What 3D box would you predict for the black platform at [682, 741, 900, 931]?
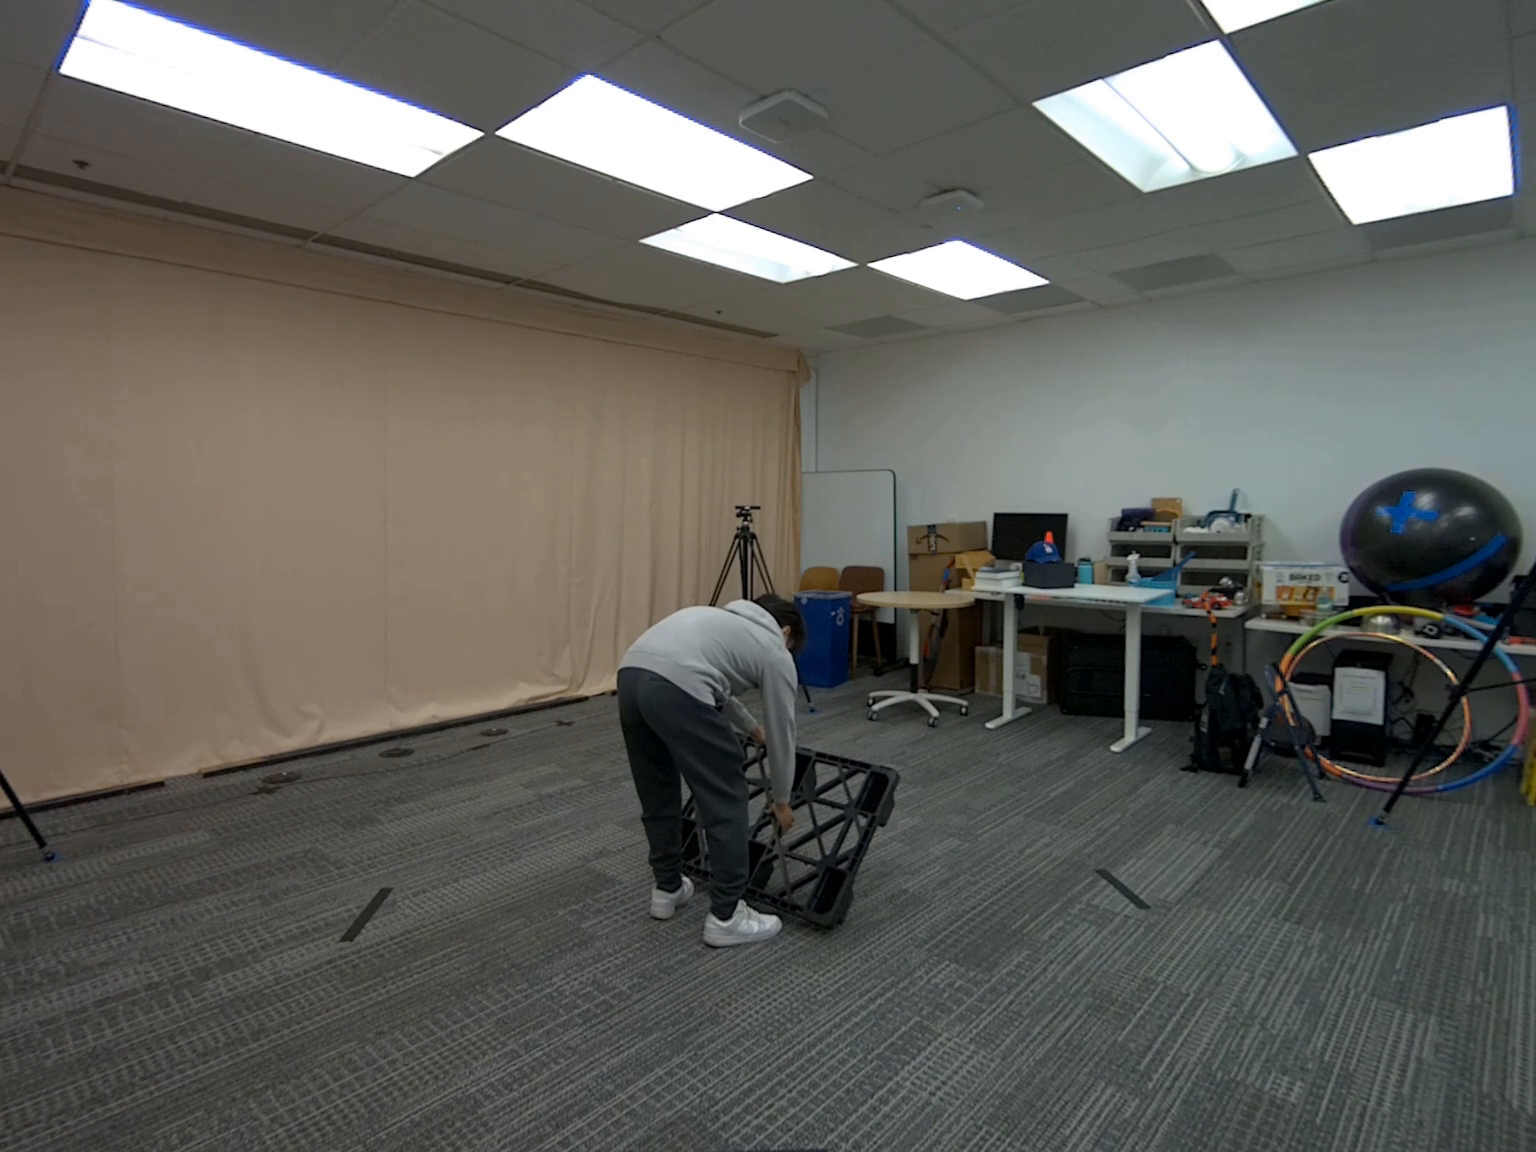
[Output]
[{"bbox_3d":[0.050,0.926,3.132,0.832,0.139,0.604,3,48,39],"label":"black platform"}]
